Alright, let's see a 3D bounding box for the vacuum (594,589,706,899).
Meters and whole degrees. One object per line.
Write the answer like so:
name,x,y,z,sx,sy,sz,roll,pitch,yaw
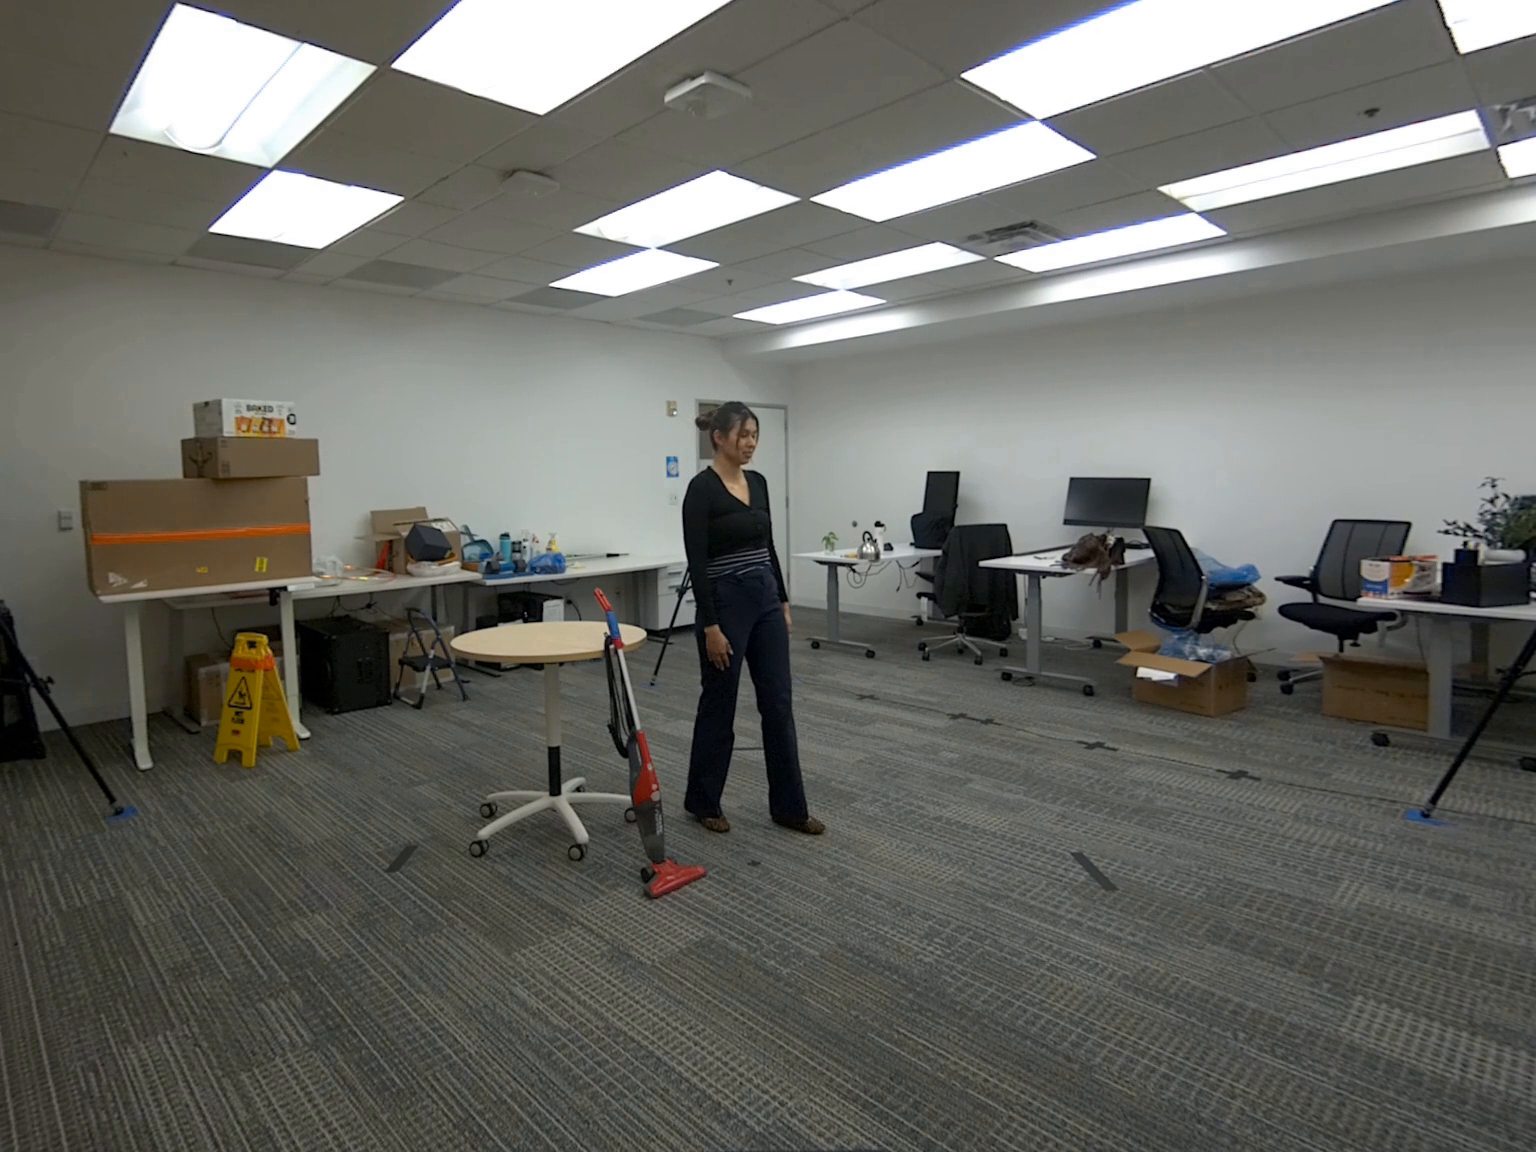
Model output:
vacuum,-0.492,0.565,3.081,0.246,1.064,0.146,-5,-16,-44
